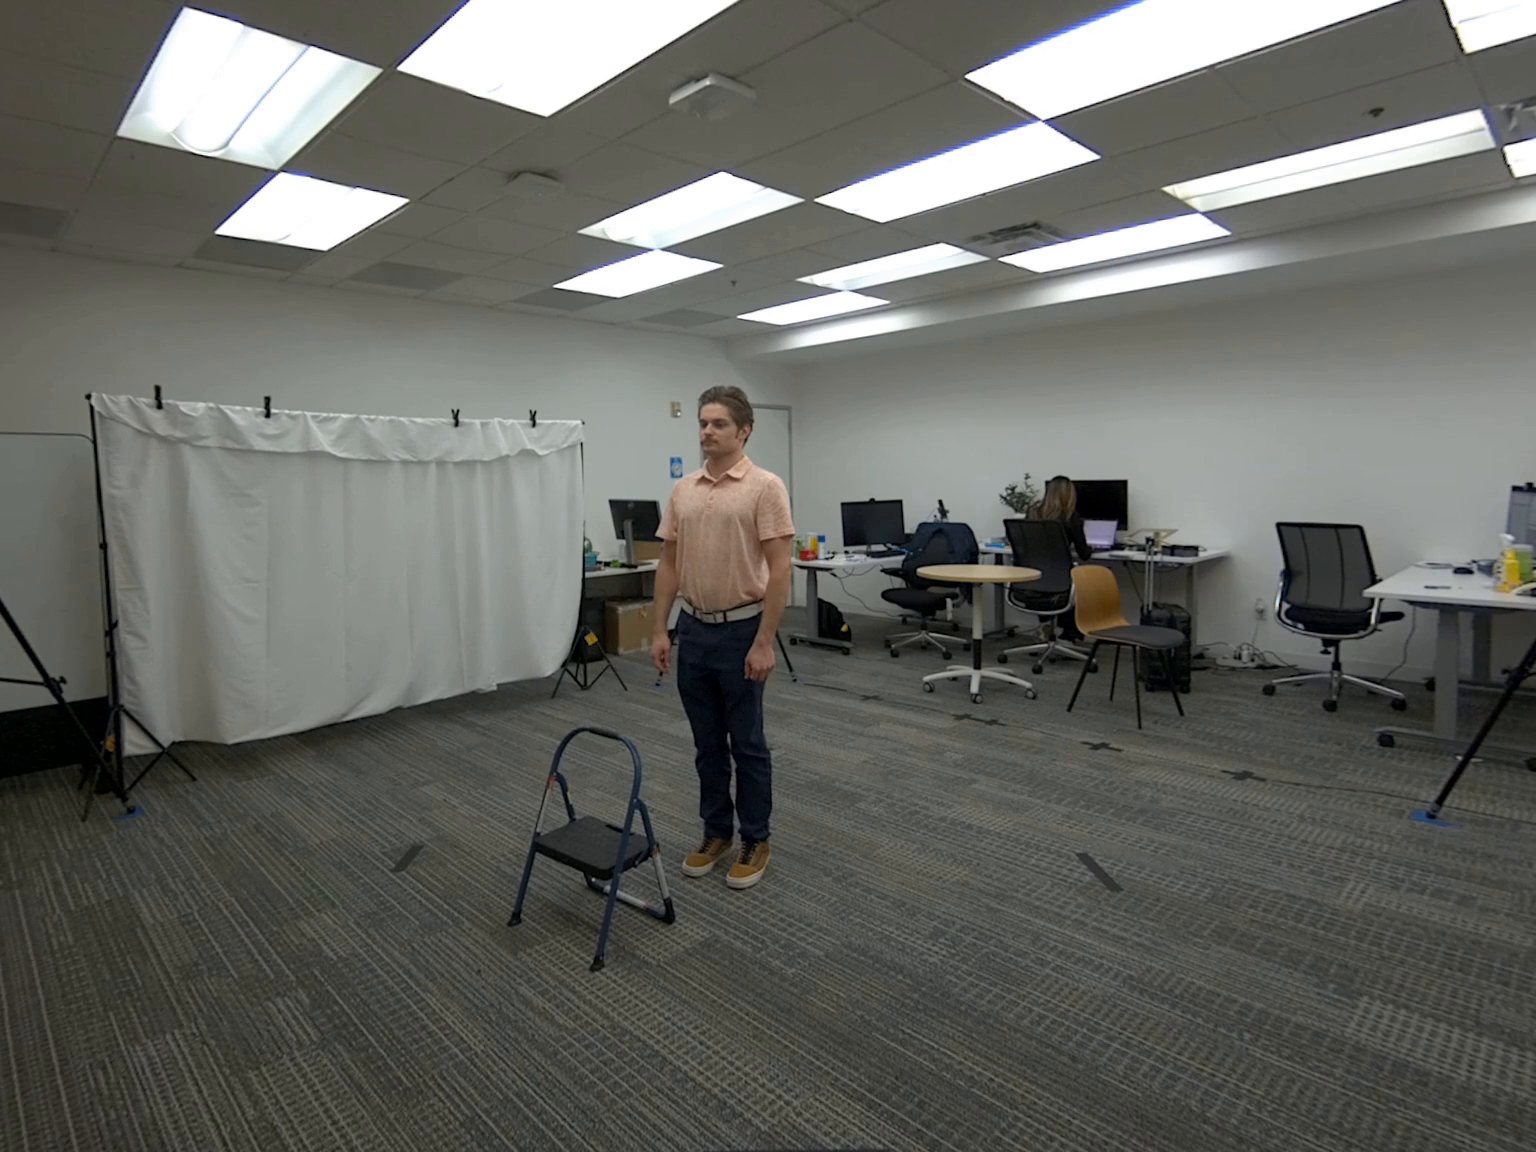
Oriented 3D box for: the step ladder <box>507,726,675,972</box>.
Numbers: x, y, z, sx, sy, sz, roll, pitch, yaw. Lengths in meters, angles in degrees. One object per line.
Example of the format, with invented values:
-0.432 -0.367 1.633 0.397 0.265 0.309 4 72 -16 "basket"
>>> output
-0.560 0.804 2.690 0.443 0.603 0.340 3 6 39 "step ladder"
